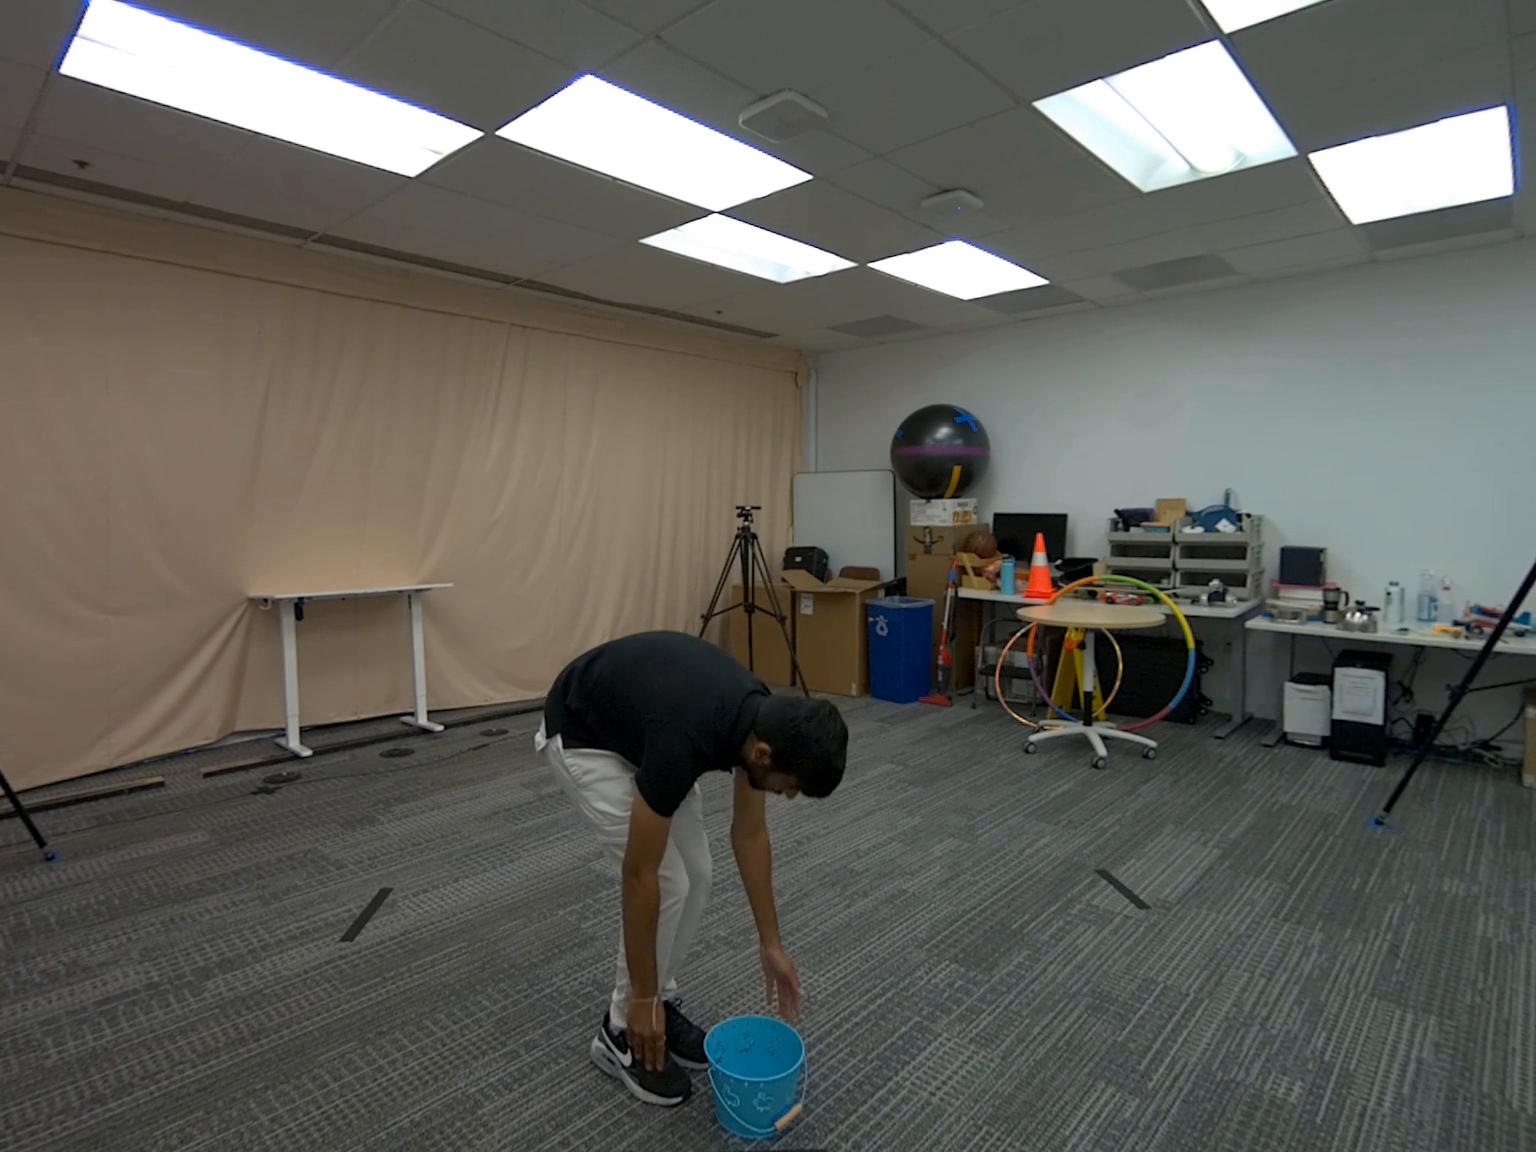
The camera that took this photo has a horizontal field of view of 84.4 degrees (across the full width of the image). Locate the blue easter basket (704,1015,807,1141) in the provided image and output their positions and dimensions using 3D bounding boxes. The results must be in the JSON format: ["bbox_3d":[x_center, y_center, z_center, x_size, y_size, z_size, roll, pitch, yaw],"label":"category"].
[{"bbox_3d":[-0.030,1.159,1.933,0.243,0.155,0.244,-2,4,-2],"label":"blue easter basket"}]
